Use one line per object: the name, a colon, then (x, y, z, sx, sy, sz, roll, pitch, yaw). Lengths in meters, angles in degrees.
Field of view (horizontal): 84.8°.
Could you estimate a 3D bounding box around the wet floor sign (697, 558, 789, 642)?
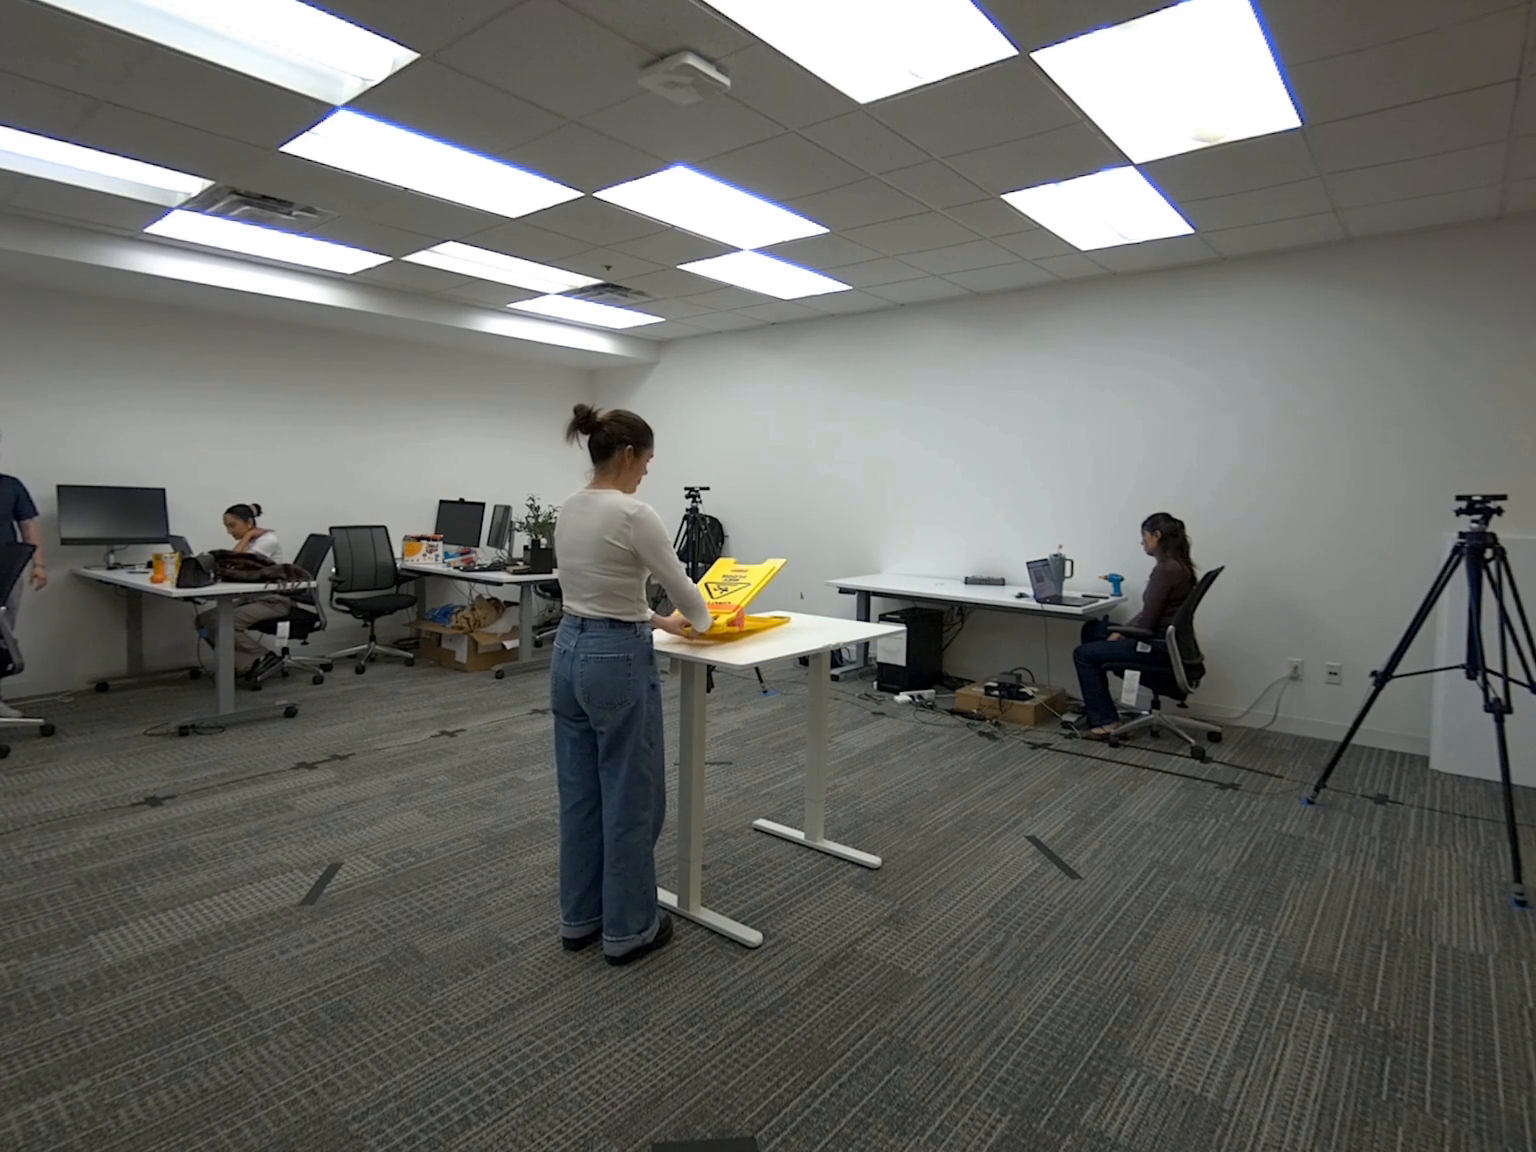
wet floor sign: (-0.159, 0.119, 3.019, 0.288, 0.287, 0.638, 1, 11, 20)
